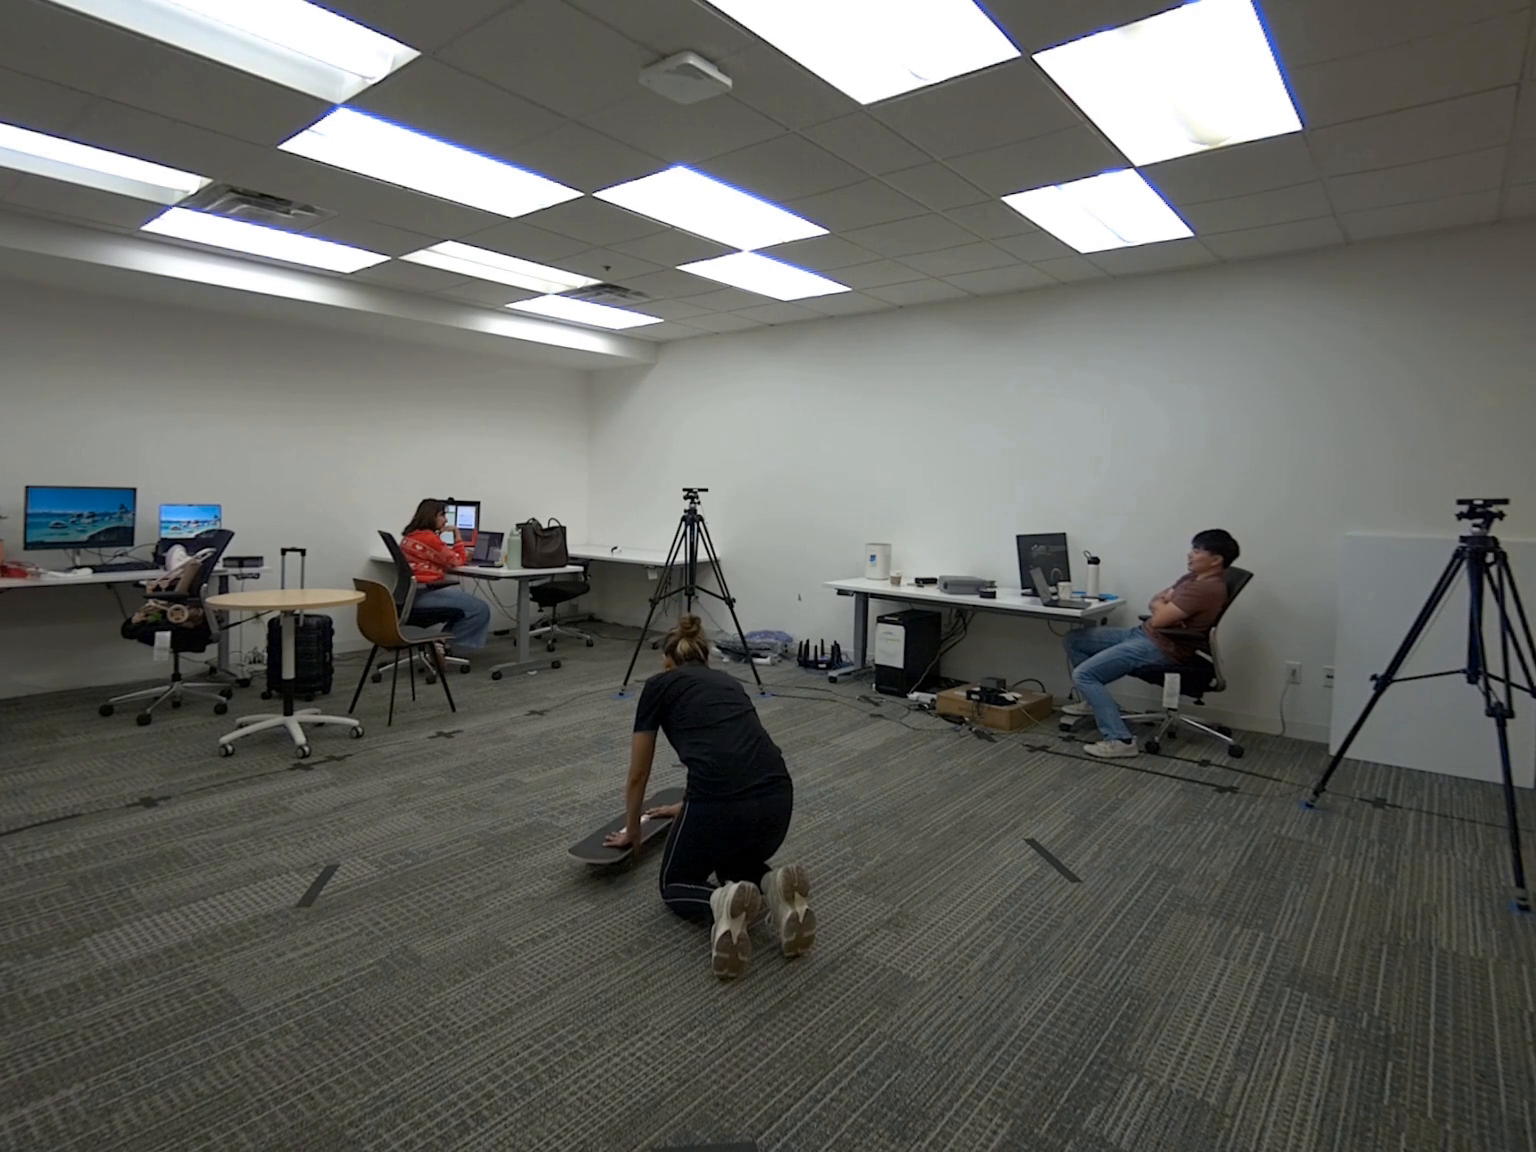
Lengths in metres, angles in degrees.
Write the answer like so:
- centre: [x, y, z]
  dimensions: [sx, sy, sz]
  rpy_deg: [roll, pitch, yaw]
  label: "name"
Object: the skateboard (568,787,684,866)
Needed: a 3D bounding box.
- centre: [-0.522, 0.988, 3.286]
  dimensions: [0.198, 0.110, 0.769]
  rpy_deg: [4, 5, 21]
  label: "skateboard"
